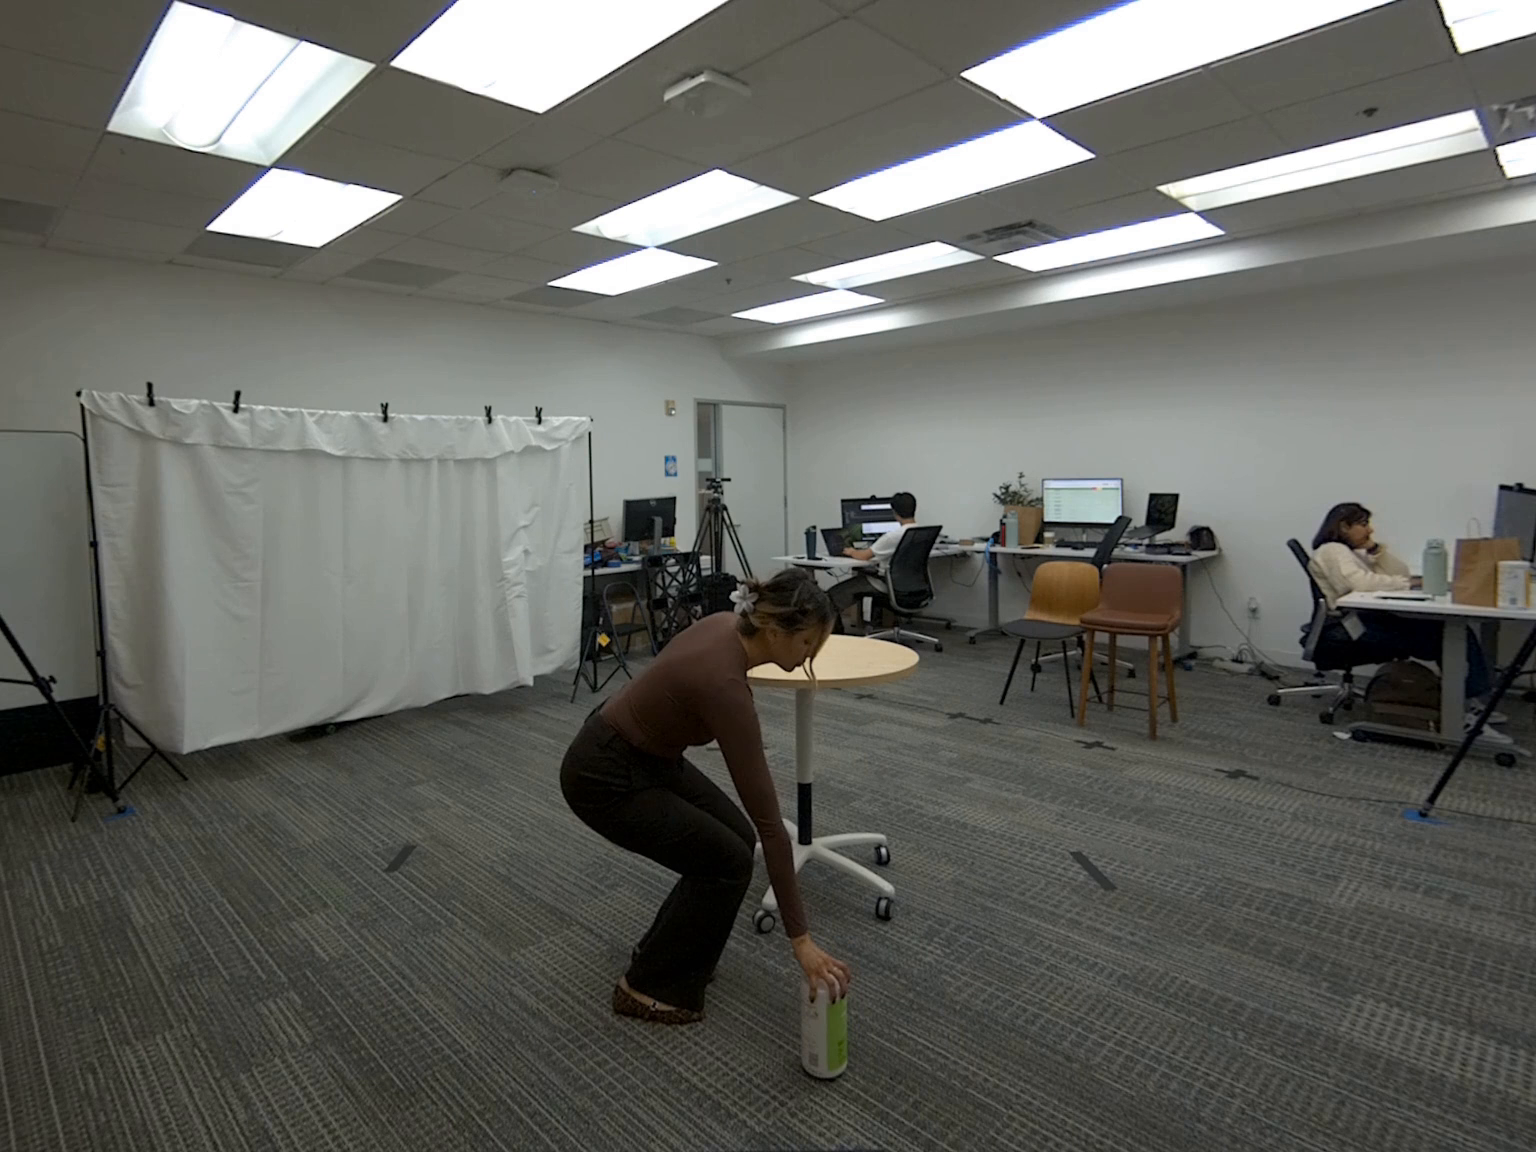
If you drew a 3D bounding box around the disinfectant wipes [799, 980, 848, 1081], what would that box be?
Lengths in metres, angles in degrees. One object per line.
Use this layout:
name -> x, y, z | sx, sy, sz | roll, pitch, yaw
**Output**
disinfectant wipes -> 0.143, 1.053, 2.006 | 0.118, 0.216, 0.118 | -1, 5, -2
